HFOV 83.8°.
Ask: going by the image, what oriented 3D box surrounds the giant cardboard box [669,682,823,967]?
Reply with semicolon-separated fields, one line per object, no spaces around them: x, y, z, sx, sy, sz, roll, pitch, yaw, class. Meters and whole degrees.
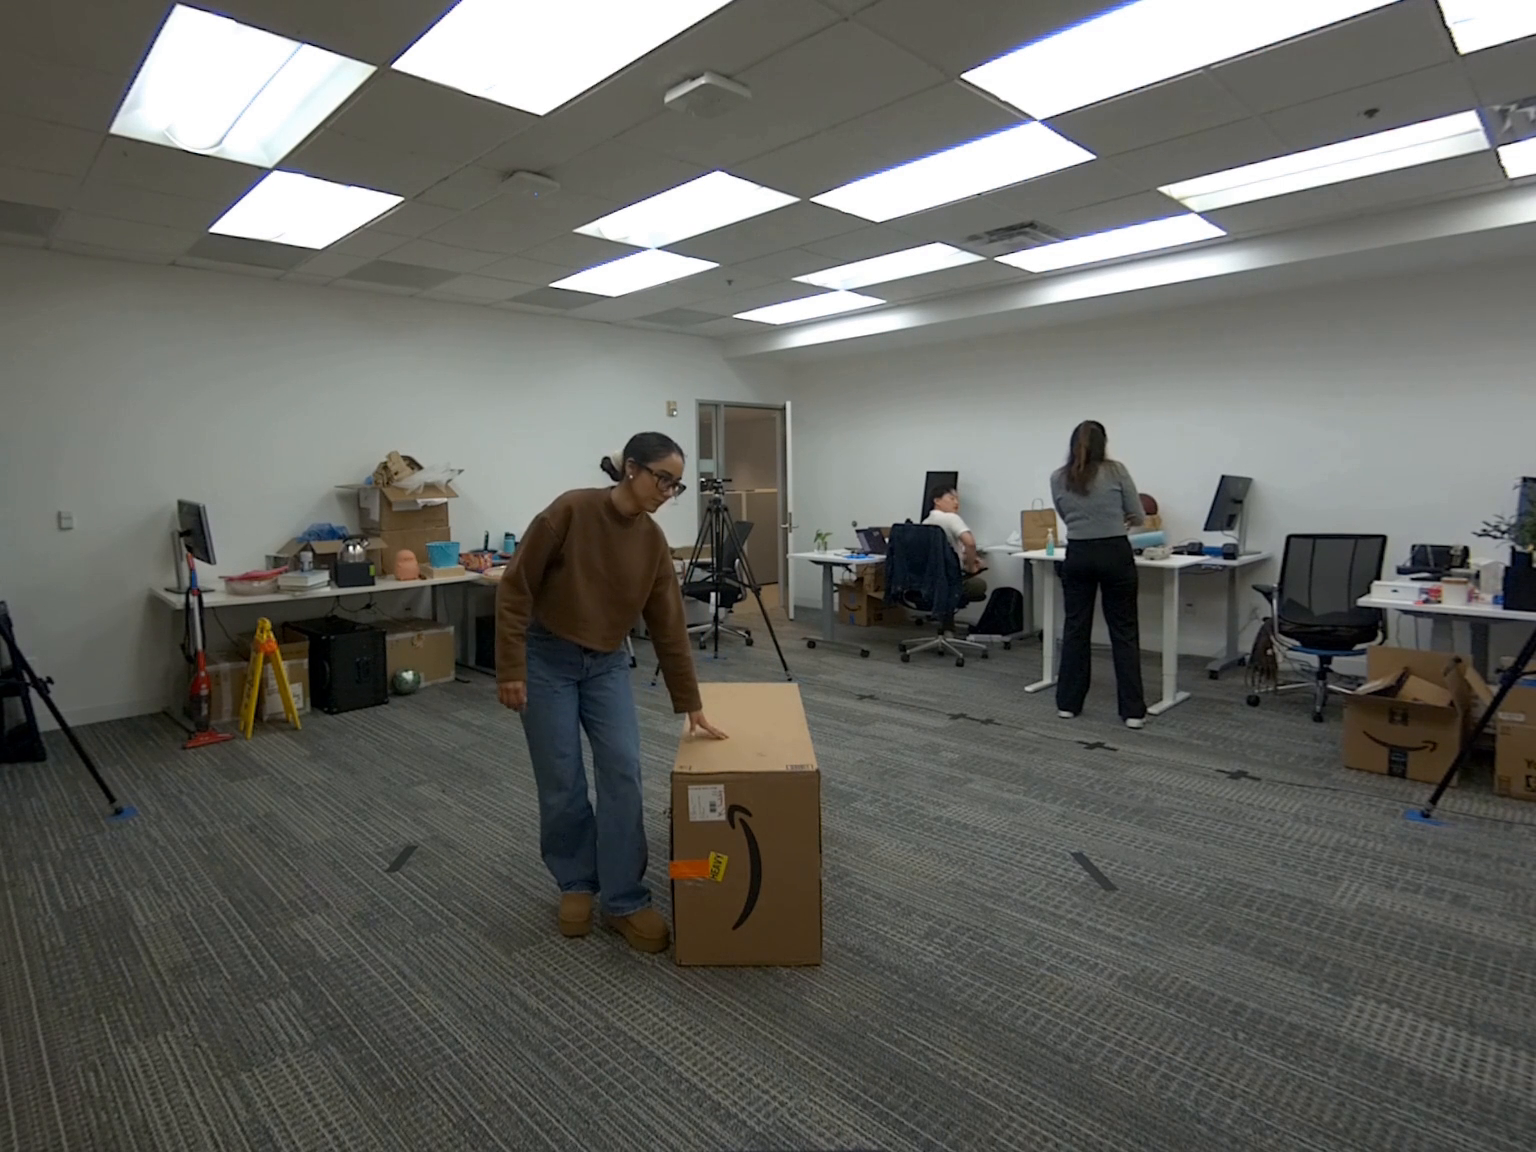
-0.072;0.777;2.942;0.447;0.581;1.030;0;5;0;giant cardboard box
